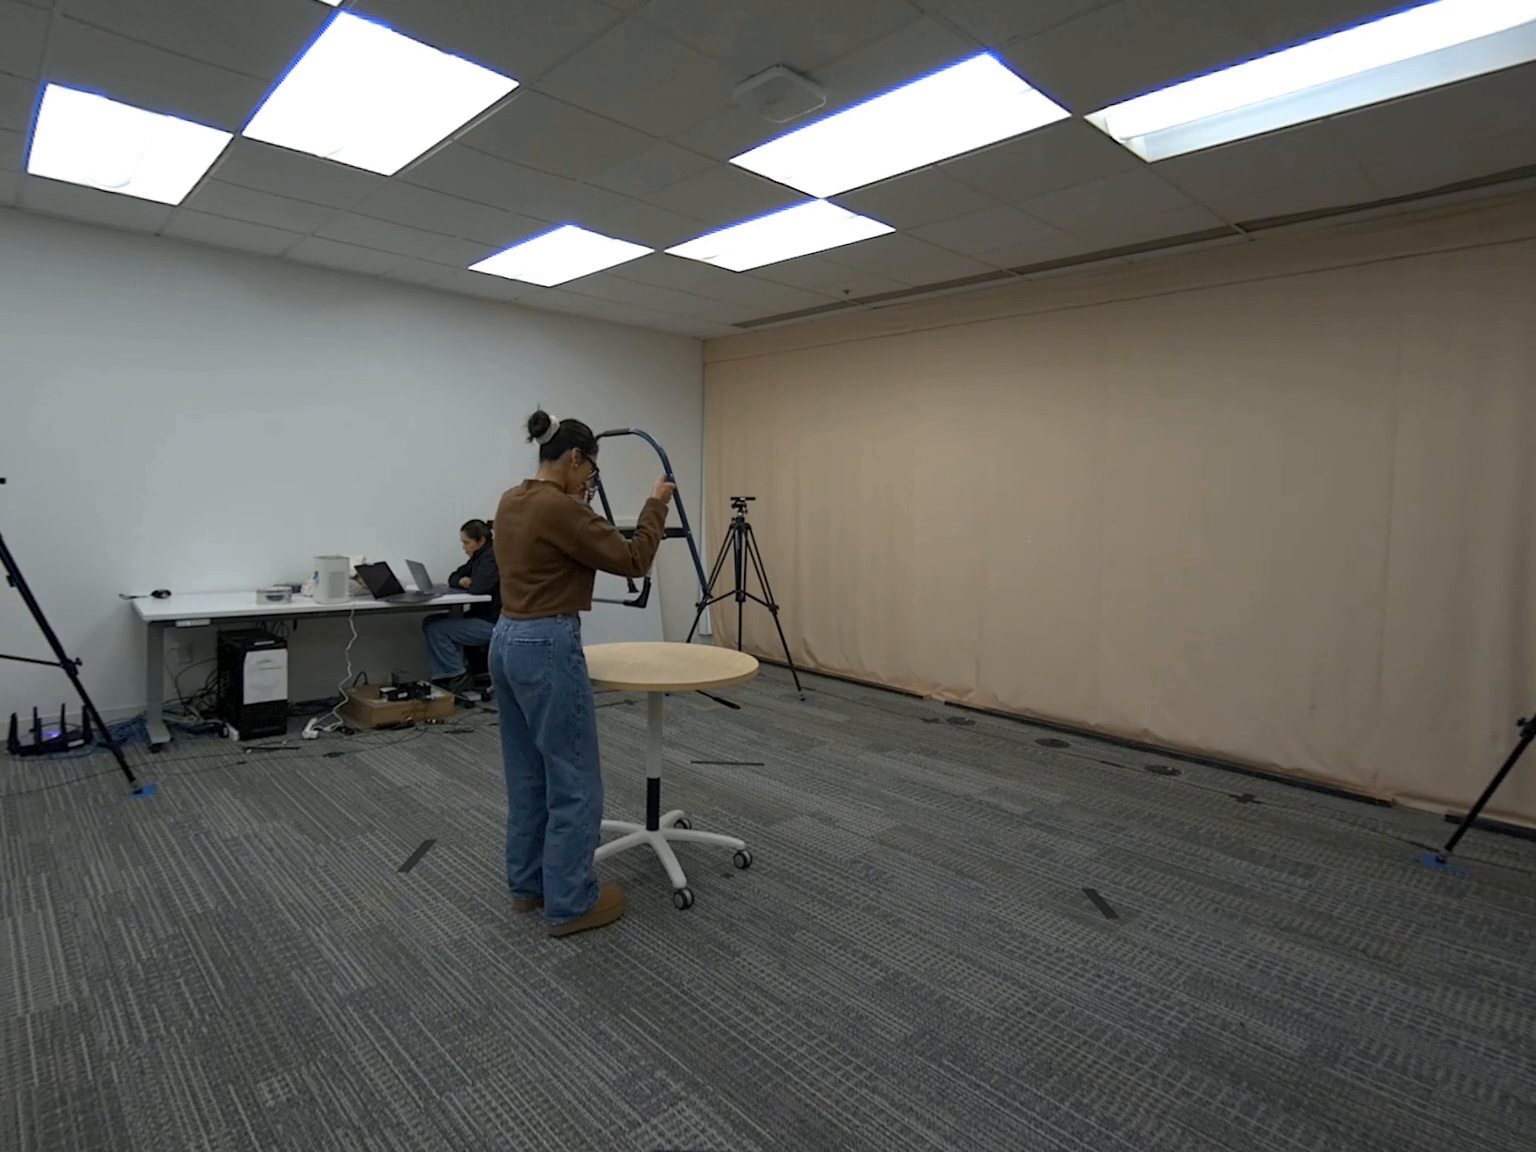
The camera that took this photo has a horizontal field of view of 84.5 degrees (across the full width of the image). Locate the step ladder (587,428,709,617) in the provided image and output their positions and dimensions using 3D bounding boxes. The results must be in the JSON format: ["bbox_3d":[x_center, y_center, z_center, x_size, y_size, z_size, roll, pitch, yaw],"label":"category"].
[{"bbox_3d":[-0.483,-0.217,3.007,0.441,0.605,0.342,1,3,39],"label":"step ladder"}]
